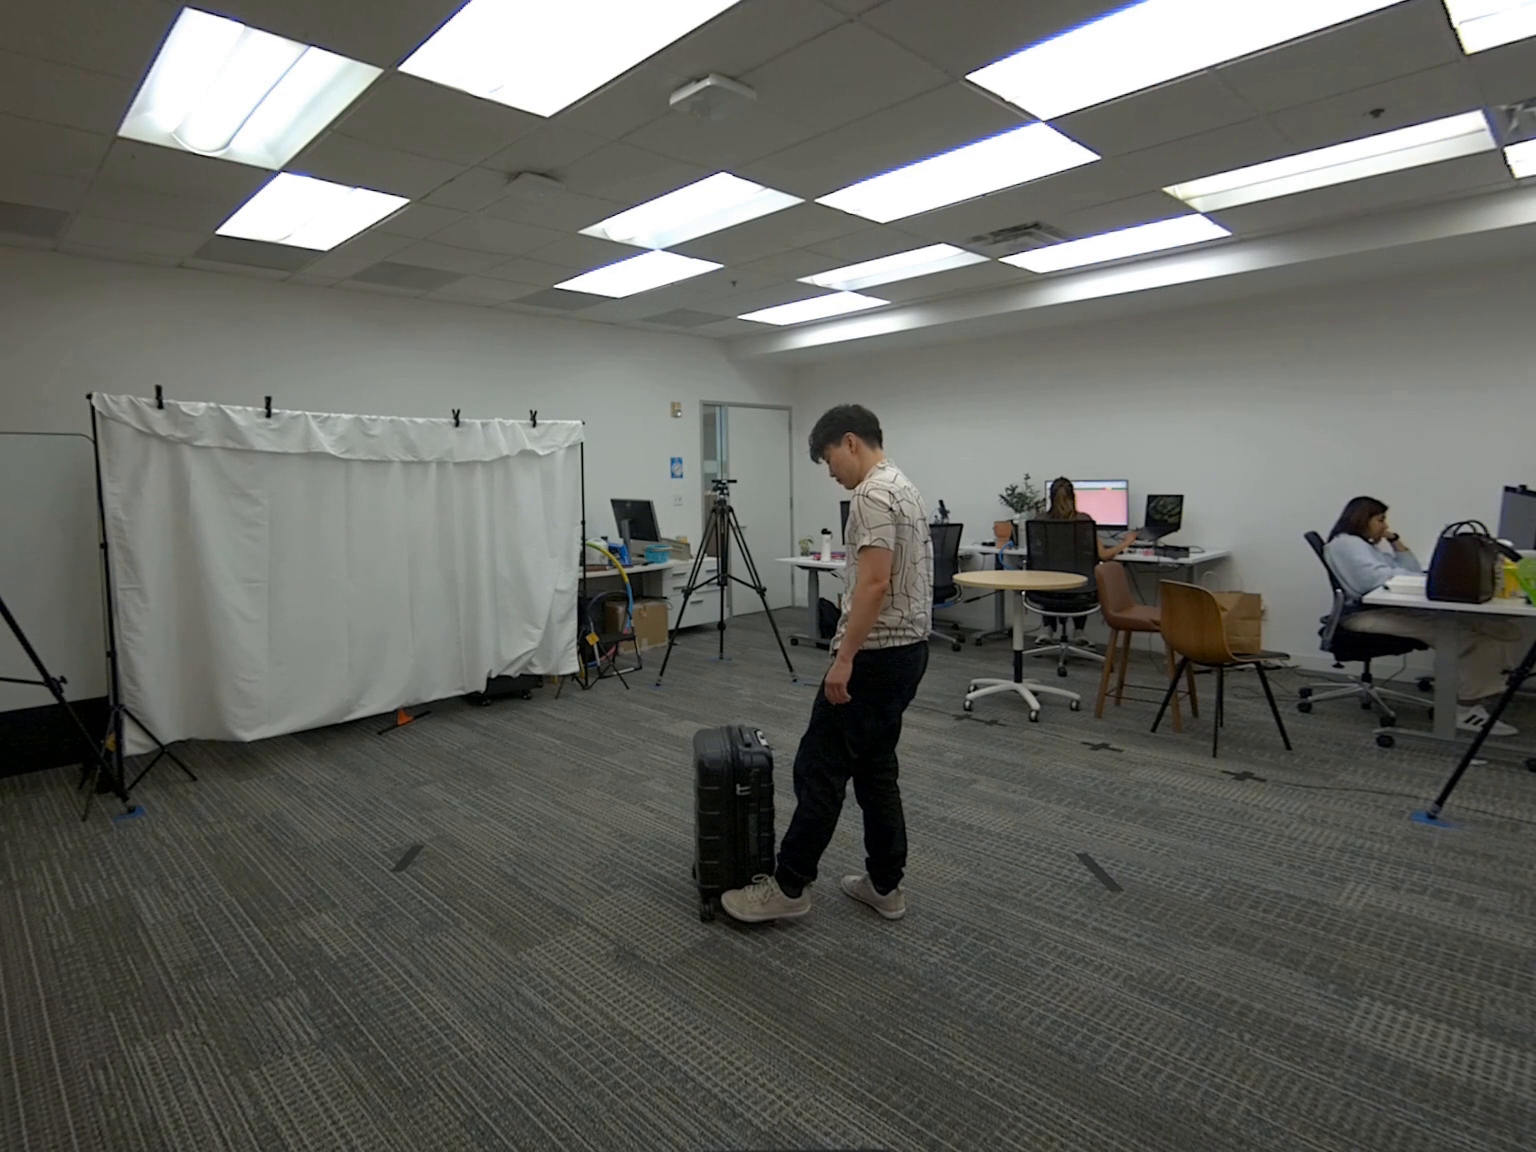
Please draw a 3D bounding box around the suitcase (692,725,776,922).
[{"bbox_3d":[-0.111,0.792,2.877,0.246,0.547,0.380,-3,4,-10],"label":"suitcase"}]
